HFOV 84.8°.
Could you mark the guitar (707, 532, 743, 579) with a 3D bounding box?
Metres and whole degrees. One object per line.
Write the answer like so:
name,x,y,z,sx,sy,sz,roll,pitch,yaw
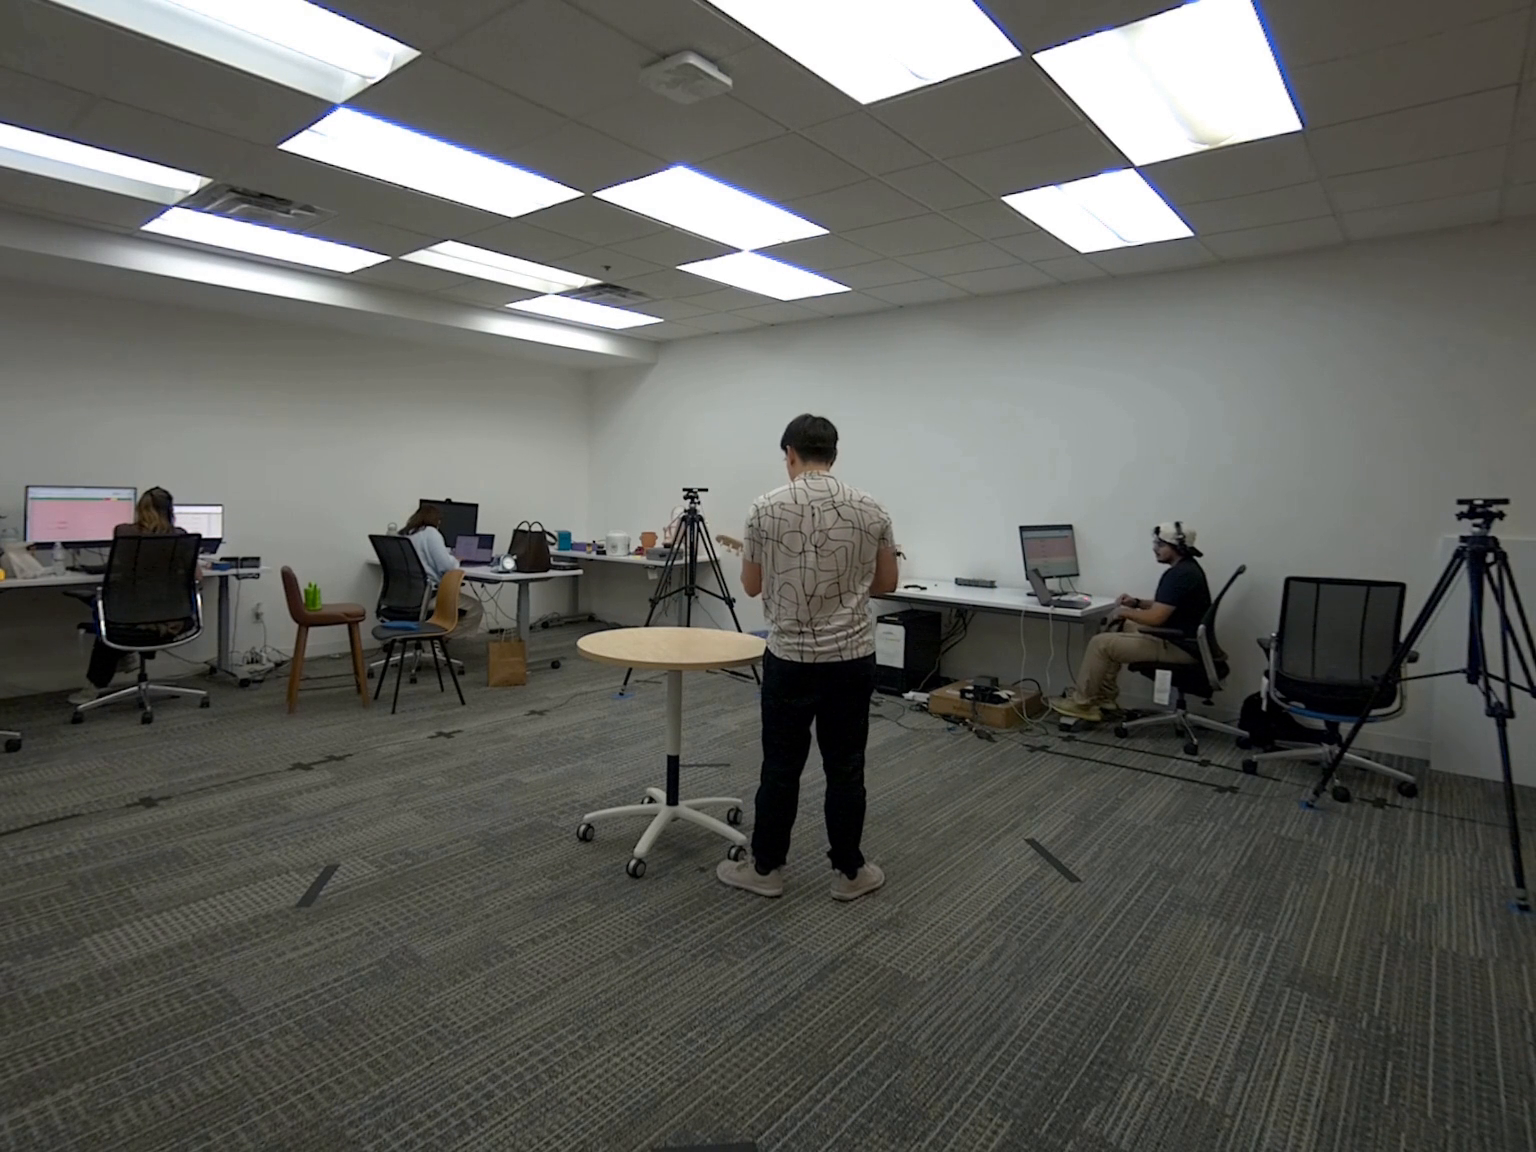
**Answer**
guitar,0.019,-0.025,3.290,0.499,0.071,0.190,18,-24,2
